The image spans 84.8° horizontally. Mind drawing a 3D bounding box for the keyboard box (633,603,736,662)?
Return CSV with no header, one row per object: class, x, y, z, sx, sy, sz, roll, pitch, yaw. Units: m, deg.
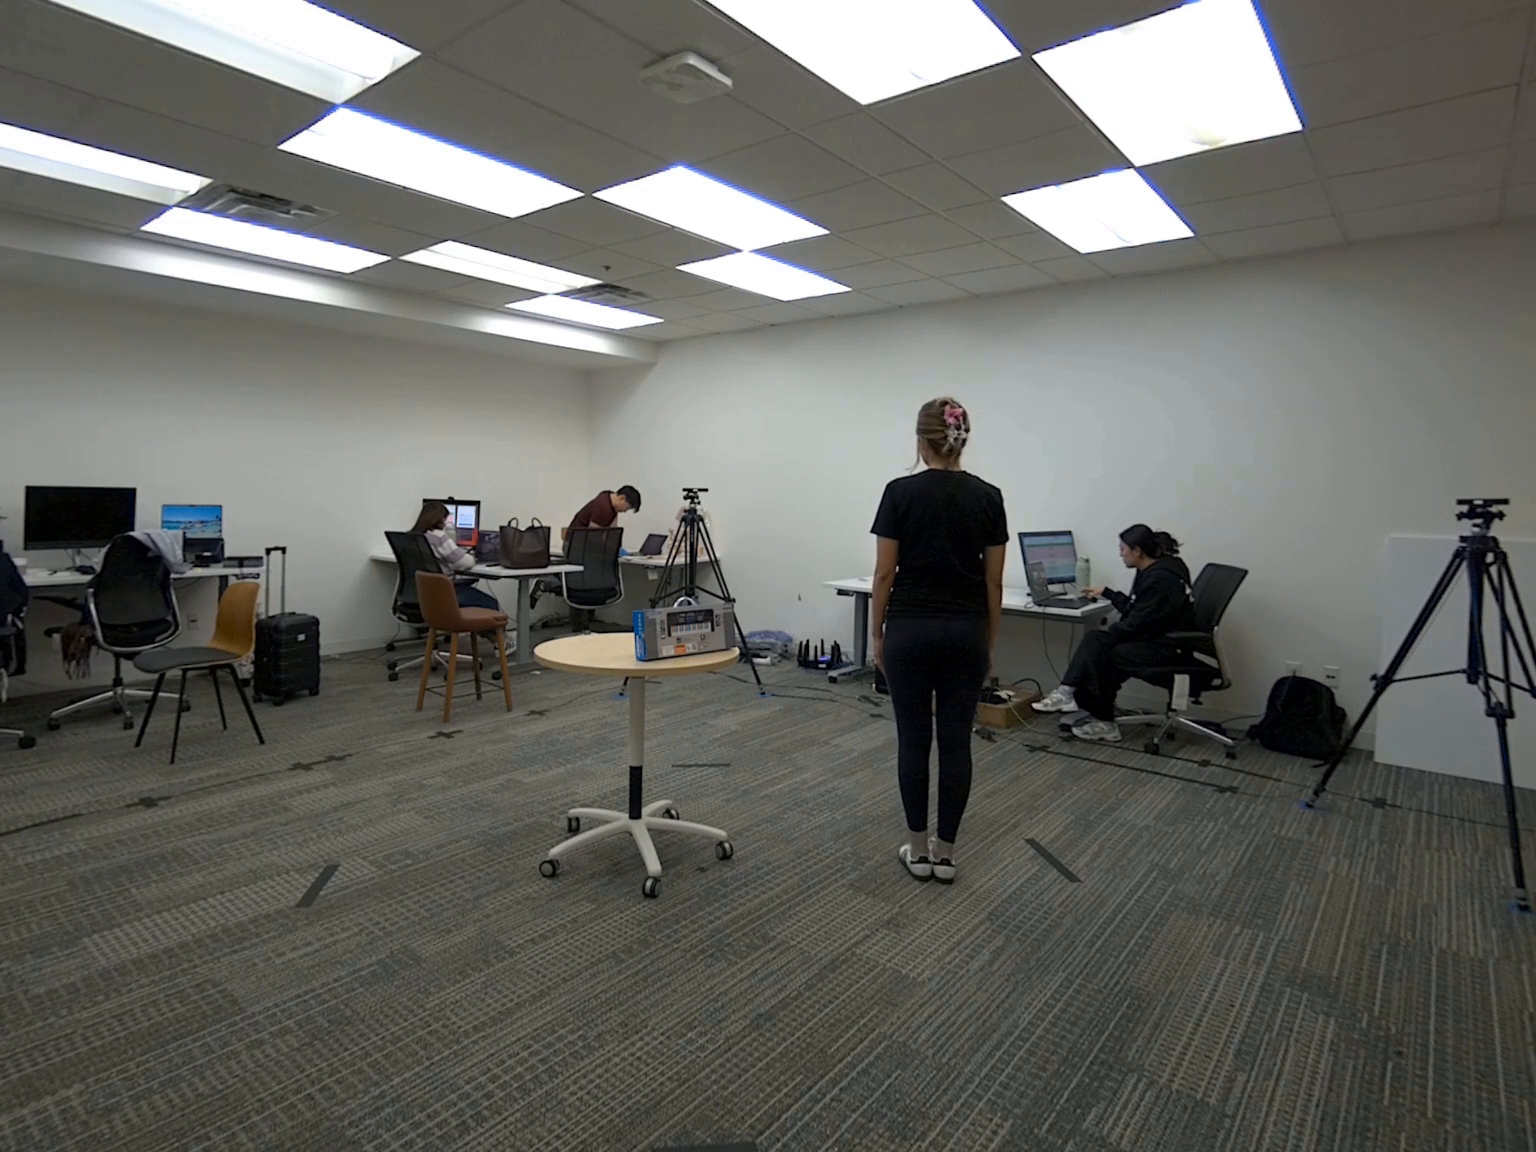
keyboard box,-0.310,0.196,3.108,0.423,0.176,0.061,-3,-3,-44
